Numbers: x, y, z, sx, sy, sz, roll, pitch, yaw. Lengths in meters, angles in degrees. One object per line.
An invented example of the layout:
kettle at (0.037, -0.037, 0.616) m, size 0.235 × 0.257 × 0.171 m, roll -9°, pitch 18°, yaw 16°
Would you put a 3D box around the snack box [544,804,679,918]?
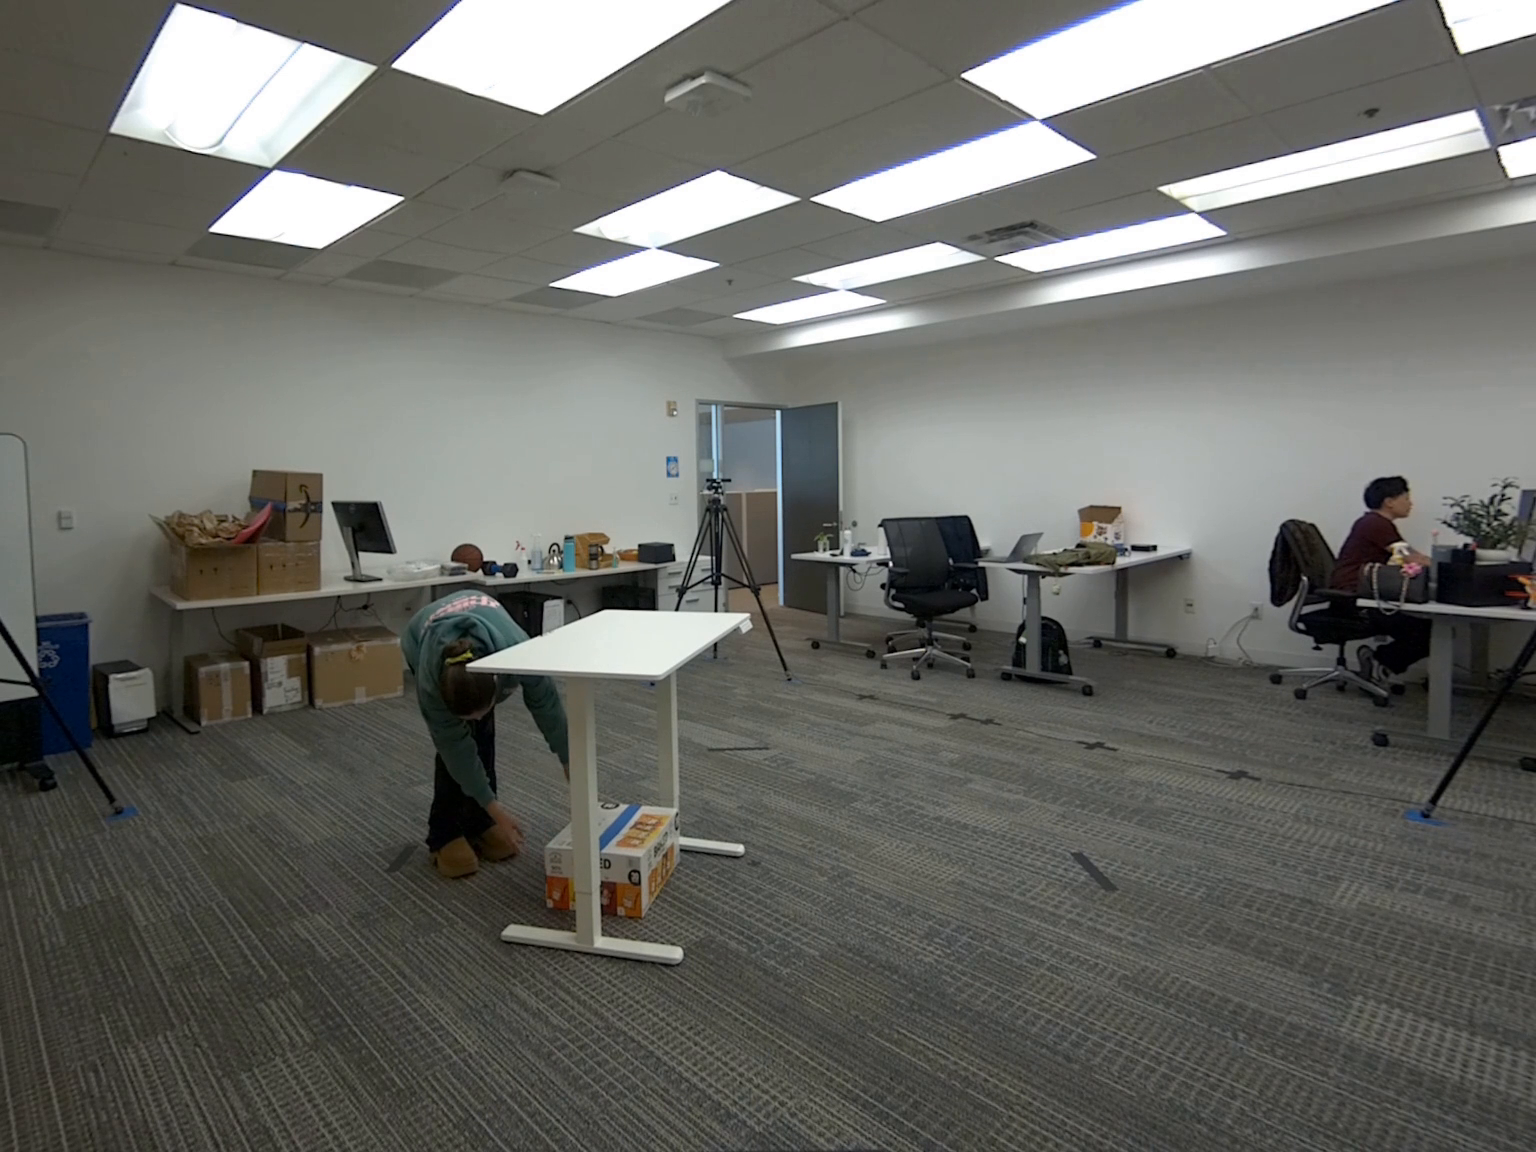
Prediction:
snack box at (-0.527, 0.968, 2.954) m, size 0.345 × 0.205 × 0.402 m, roll 0°, pitch 6°, yaw 12°
